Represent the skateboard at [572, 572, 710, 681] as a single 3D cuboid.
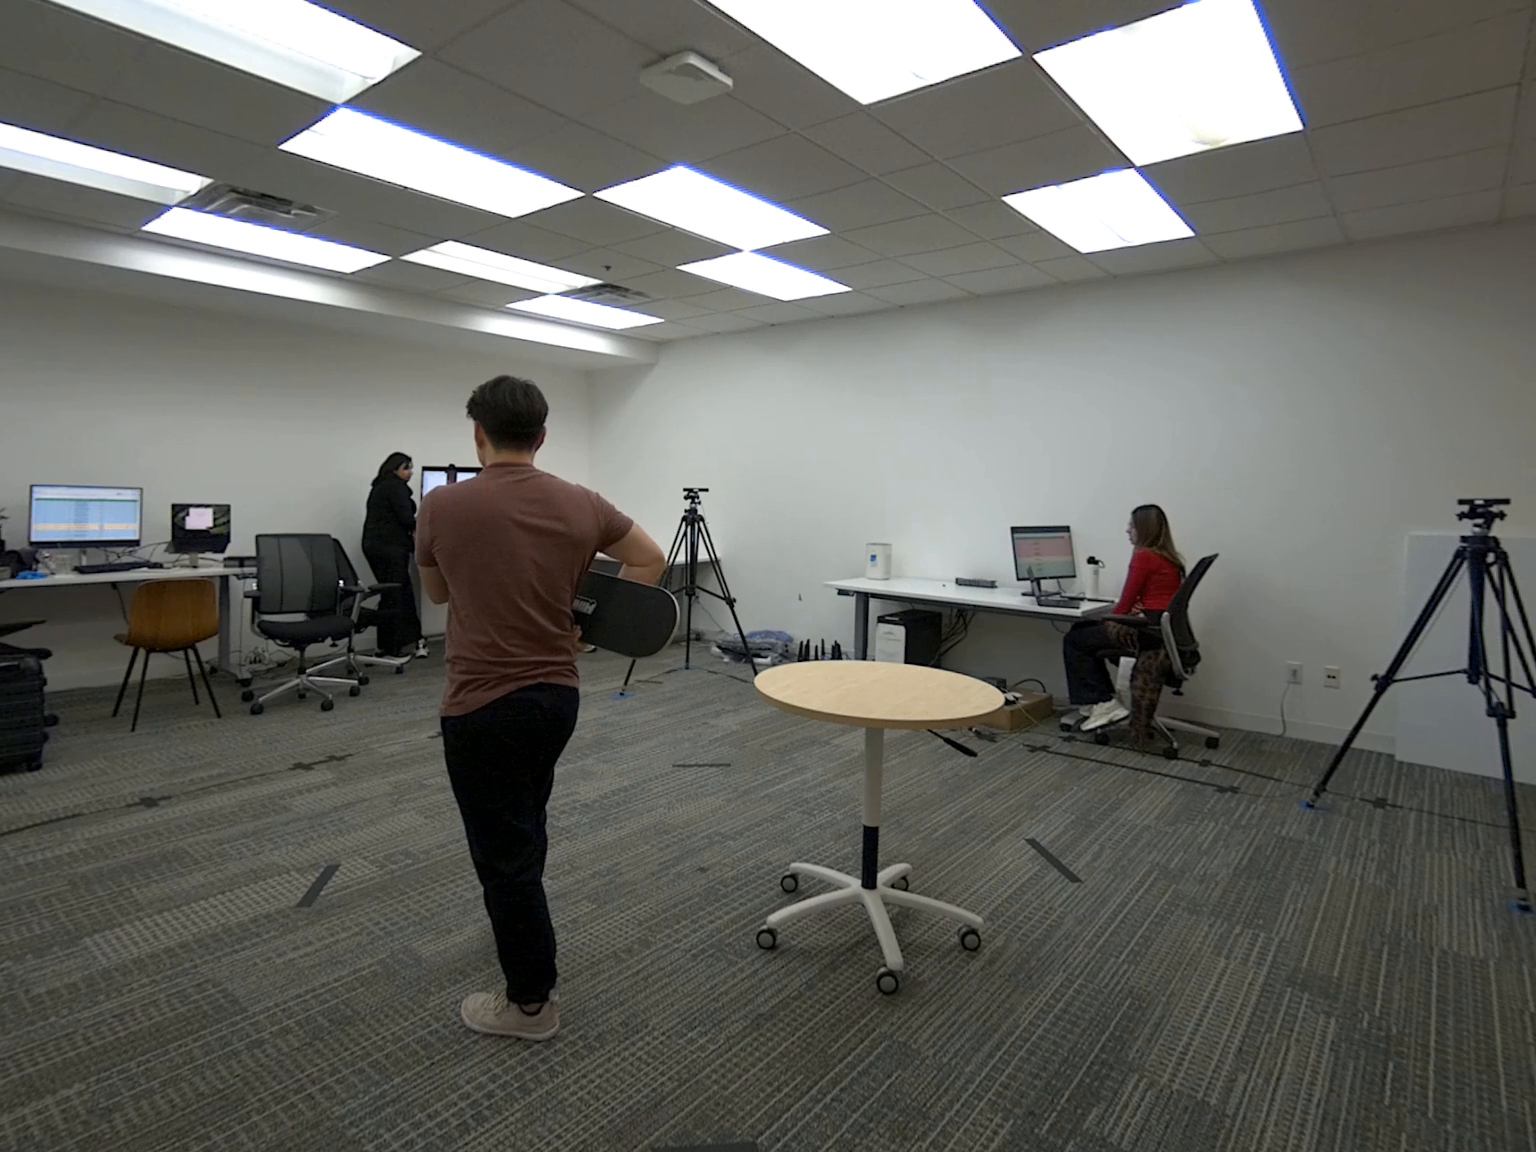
[{"bbox_3d":[-0.537,0.087,2.355,0.813,0.194,0.106,13,-11,34],"label":"skateboard"}]
